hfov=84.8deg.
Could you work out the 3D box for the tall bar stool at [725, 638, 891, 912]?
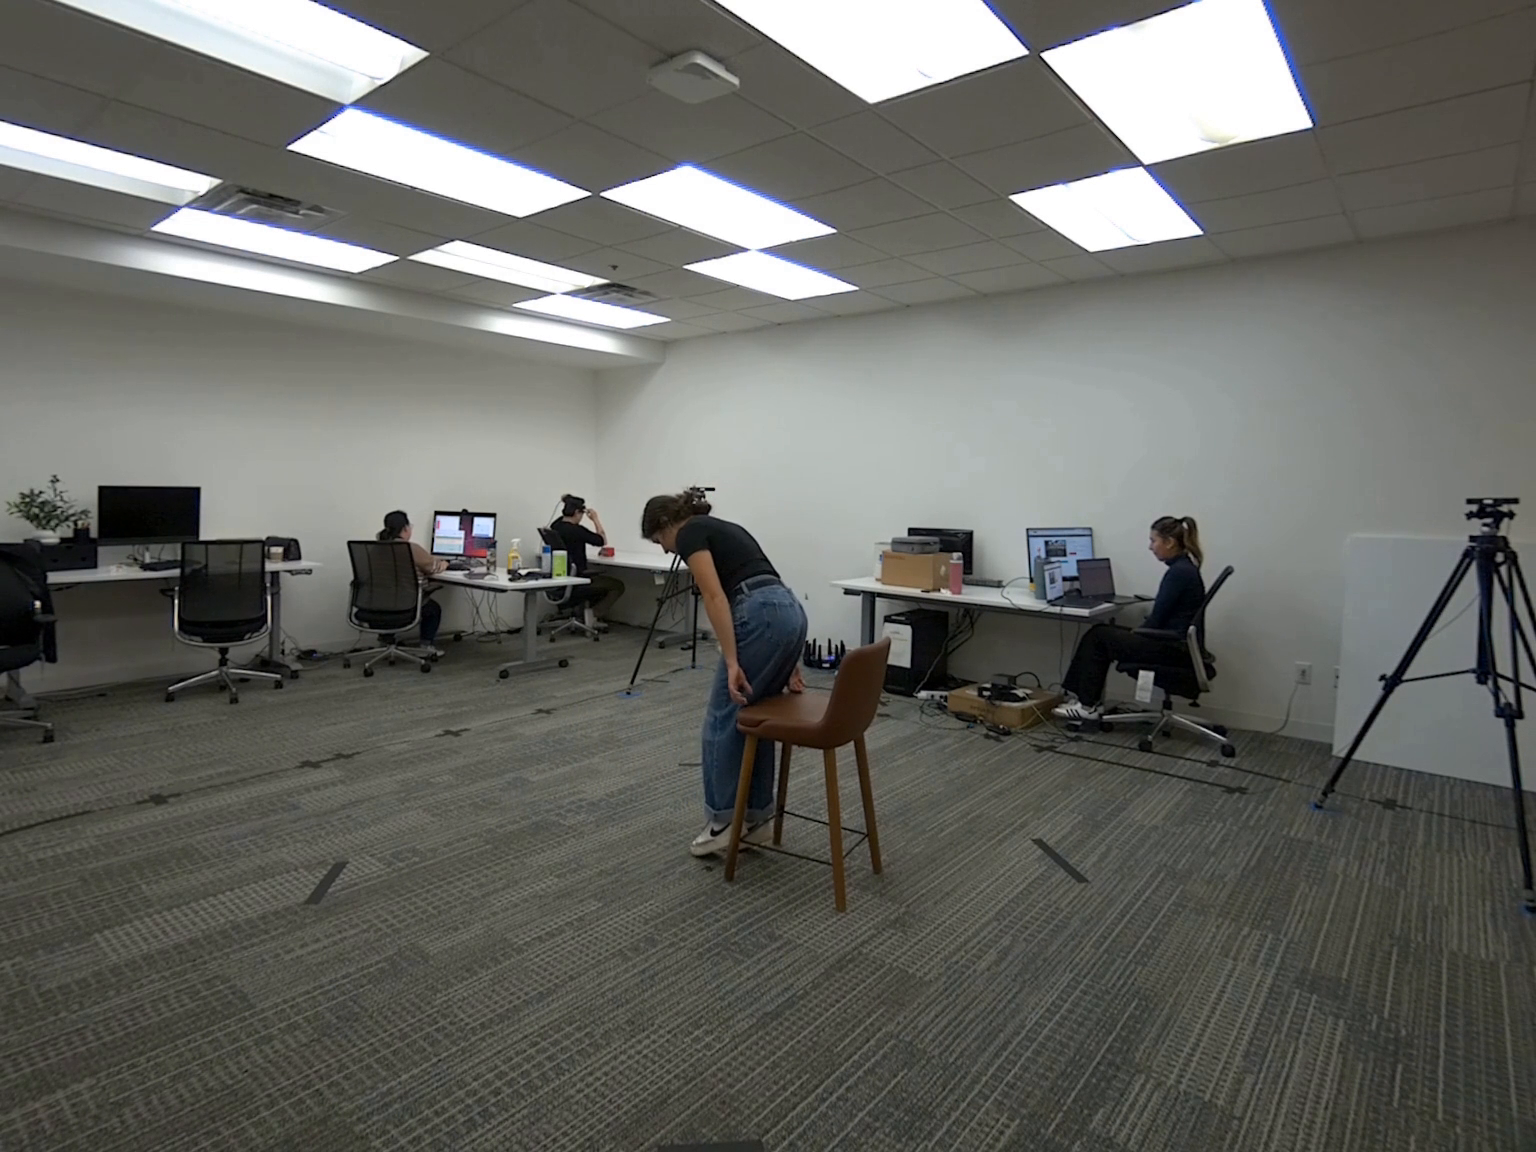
[{"bbox_3d":[0.142,0.646,3.049,0.481,0.887,0.444,4,4,29],"label":"tall bar stool"}]
